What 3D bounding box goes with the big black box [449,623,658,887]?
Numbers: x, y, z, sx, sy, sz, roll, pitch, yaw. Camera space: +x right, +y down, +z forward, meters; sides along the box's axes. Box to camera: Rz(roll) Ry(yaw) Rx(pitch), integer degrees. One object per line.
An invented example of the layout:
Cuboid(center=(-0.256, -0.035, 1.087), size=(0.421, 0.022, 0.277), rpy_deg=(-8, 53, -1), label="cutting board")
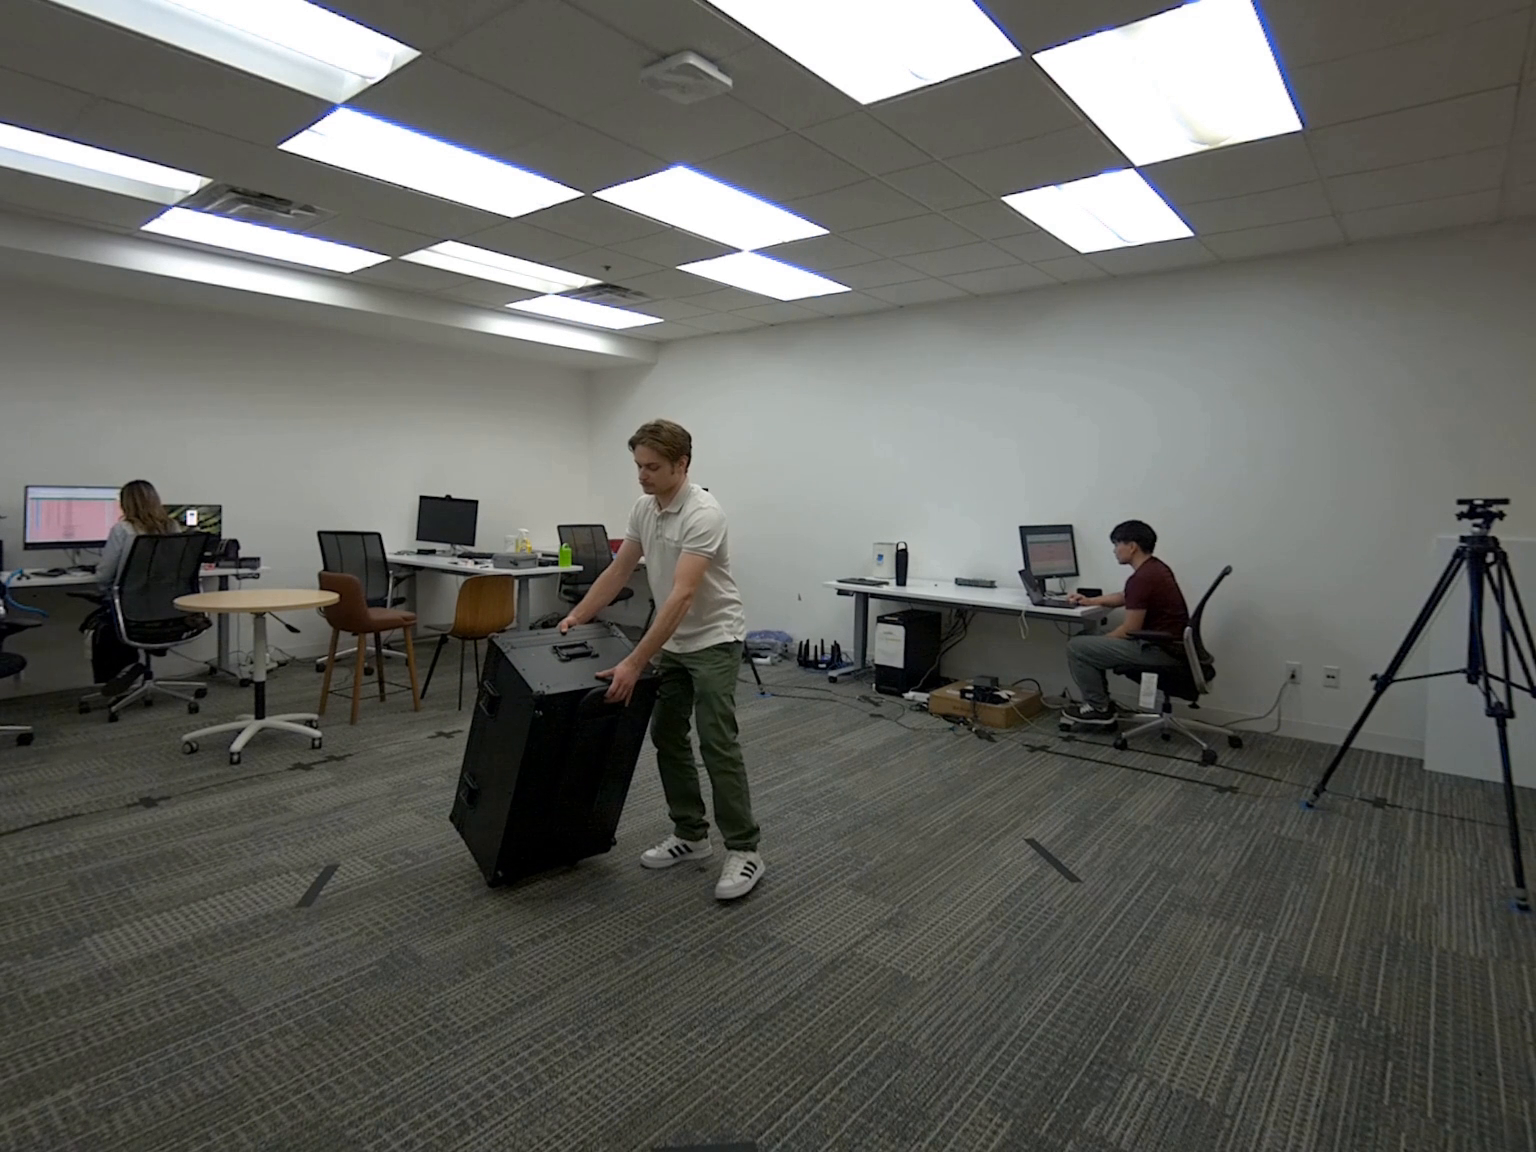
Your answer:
Cuboid(center=(-0.767, 0.639, 2.988), size=(0.508, 0.858, 0.402), rpy_deg=(-3, 29, -43), label="big black box")
